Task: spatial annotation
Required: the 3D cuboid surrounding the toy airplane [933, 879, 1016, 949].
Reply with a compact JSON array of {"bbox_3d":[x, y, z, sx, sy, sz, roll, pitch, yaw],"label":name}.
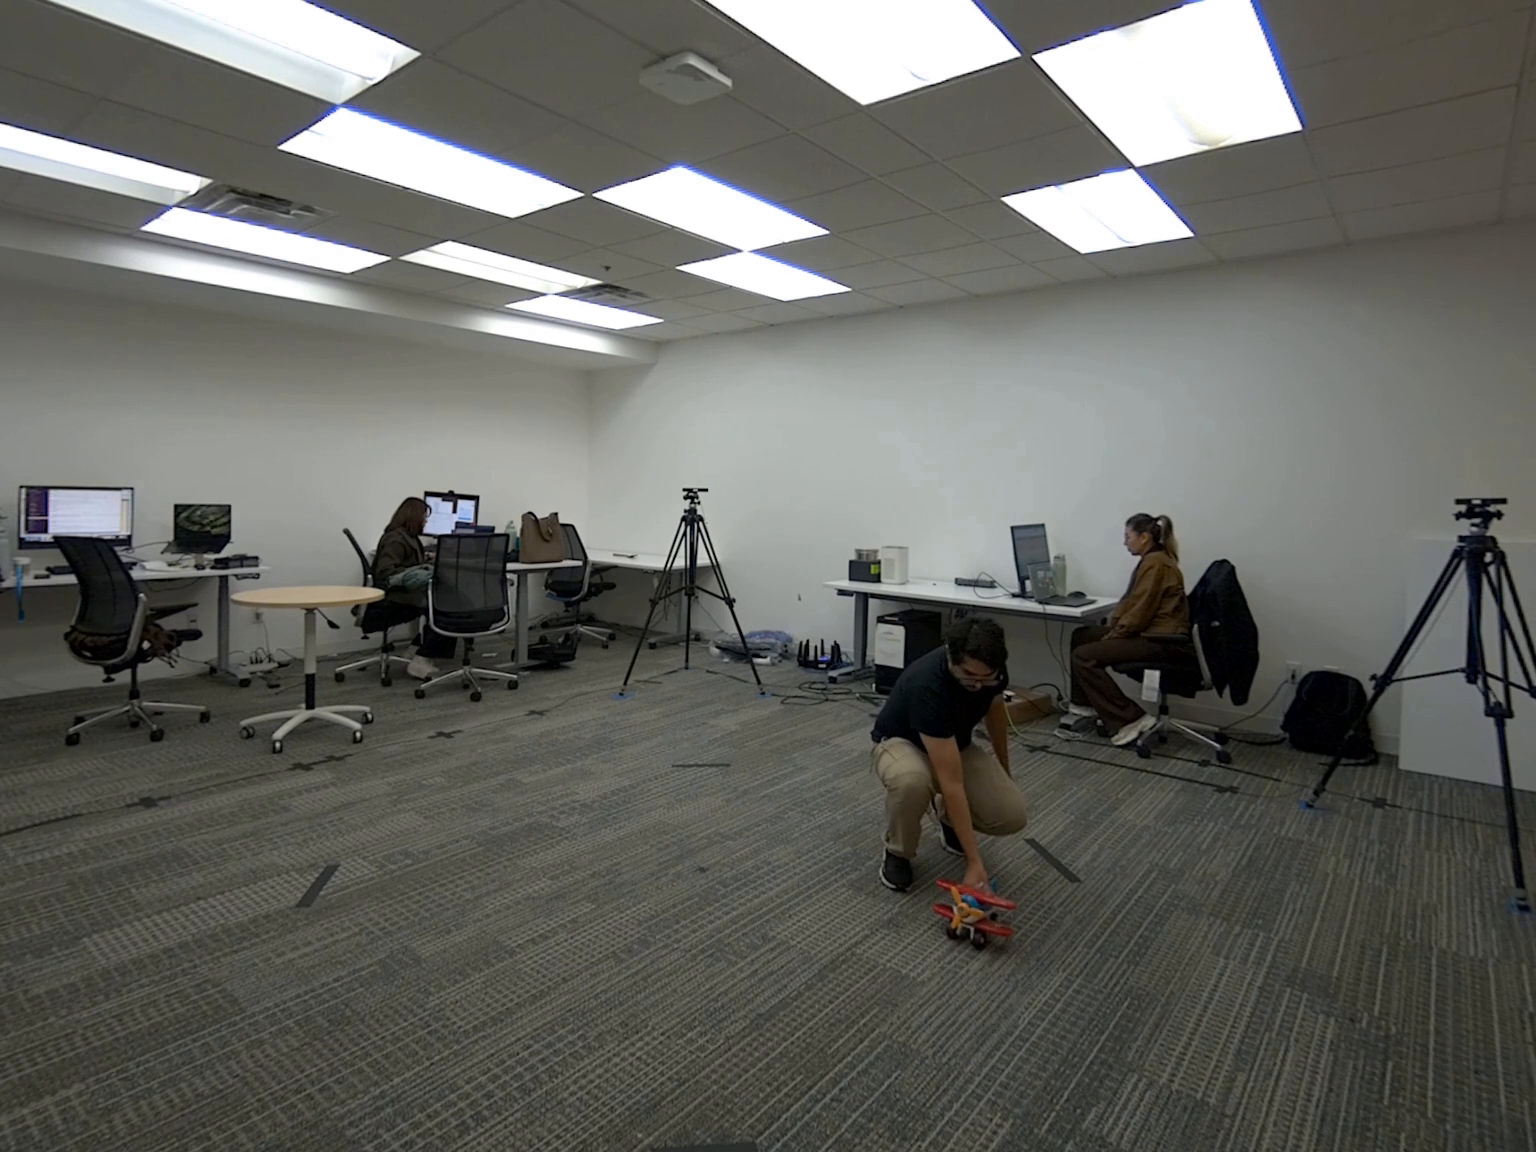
[{"bbox_3d":[0.651,1.056,2.716,0.254,0.155,0.258,2,7,9],"label":"toy airplane"}]
